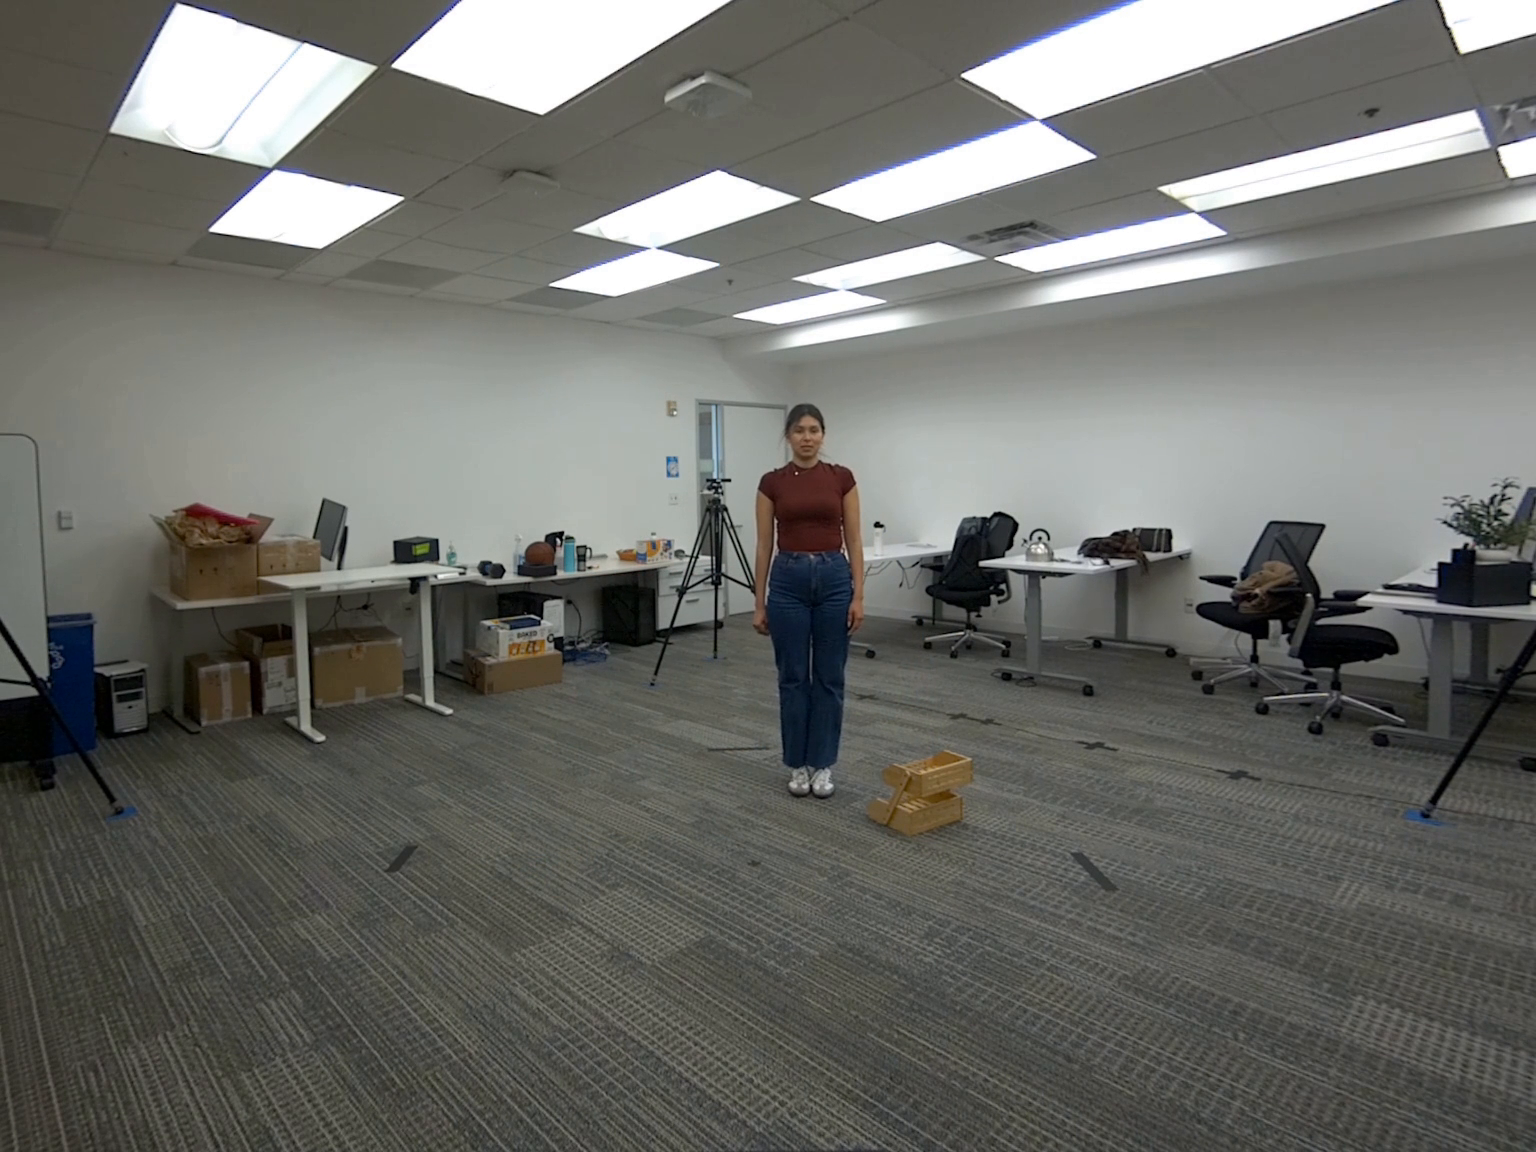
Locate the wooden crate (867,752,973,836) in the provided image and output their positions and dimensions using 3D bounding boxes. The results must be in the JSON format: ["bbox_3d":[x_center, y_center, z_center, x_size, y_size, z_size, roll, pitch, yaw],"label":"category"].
[{"bbox_3d":[0.613,0.859,3.474,0.316,0.272,0.311,-5,7,-36],"label":"wooden crate"}]
